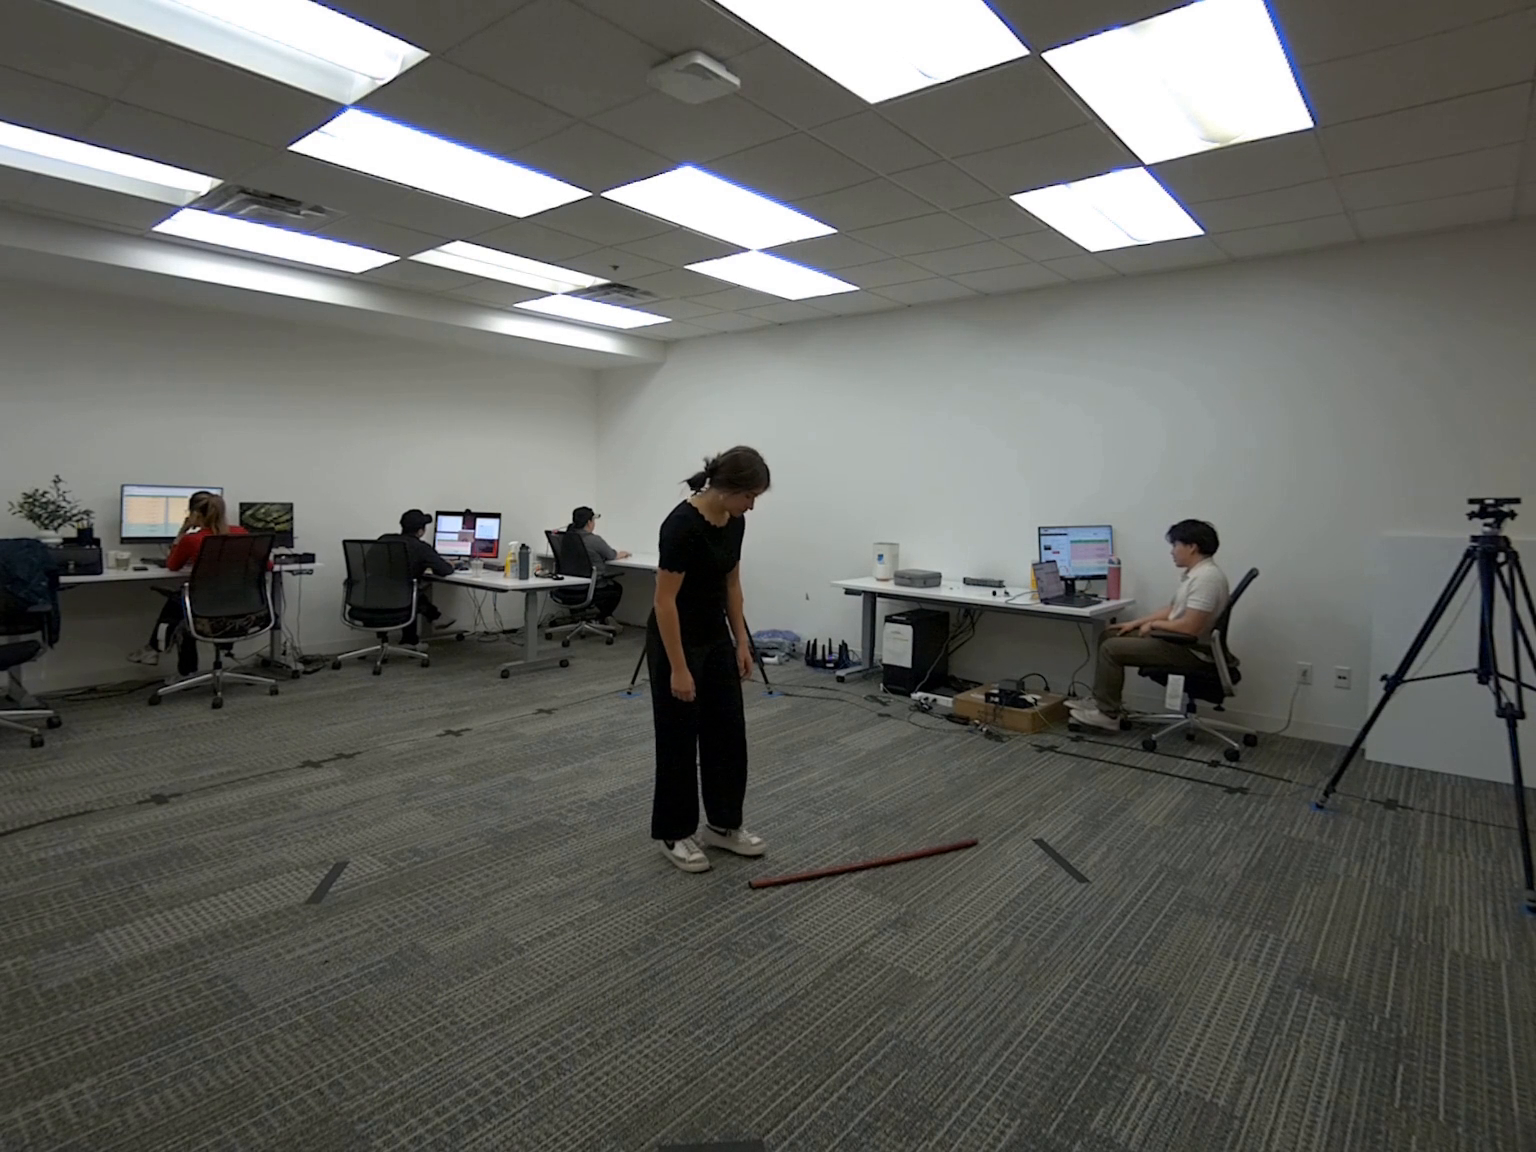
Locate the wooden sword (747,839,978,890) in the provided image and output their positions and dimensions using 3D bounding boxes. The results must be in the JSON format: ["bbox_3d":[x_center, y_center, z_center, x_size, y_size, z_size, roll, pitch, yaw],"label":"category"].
[{"bbox_3d":[0.389,1.061,3.166,1.000,0.051,0.024,-2,-2,-25],"label":"wooden sword"}]
